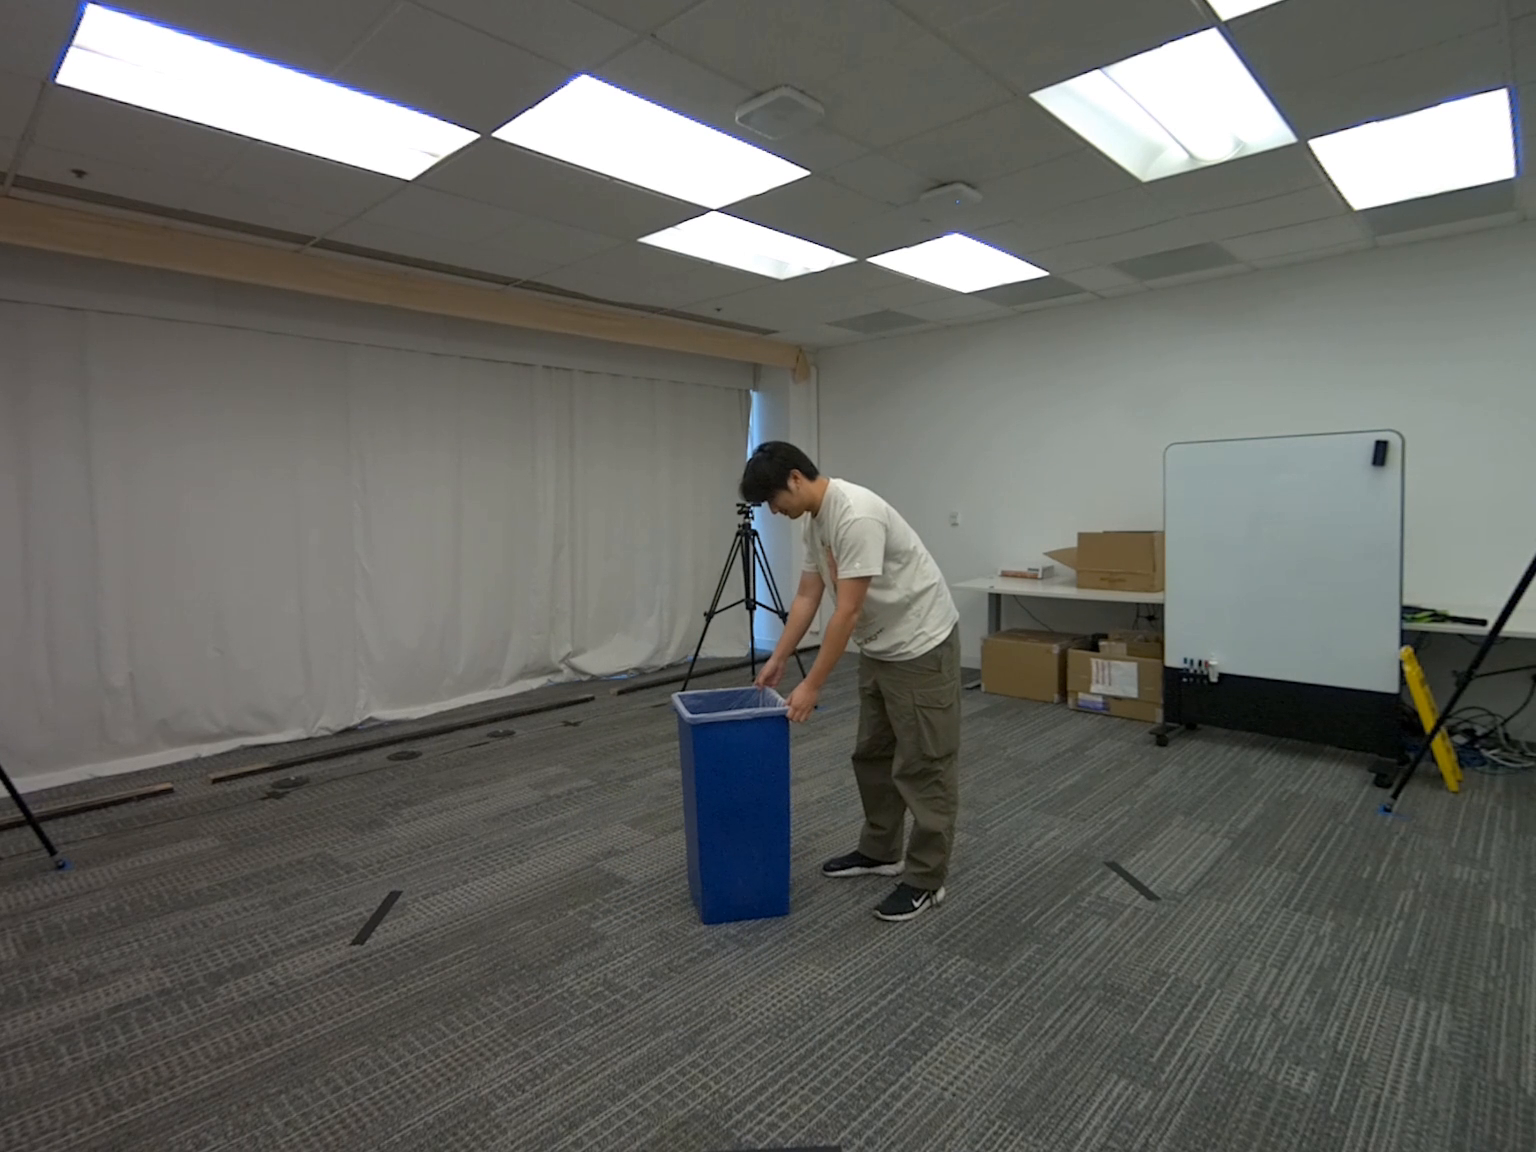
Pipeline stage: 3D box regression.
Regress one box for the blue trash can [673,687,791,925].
[{"bbox_3d":[-0.110,0.785,2.943,0.369,0.712,0.384,-1,3,-13],"label":"blue trash can"}]
